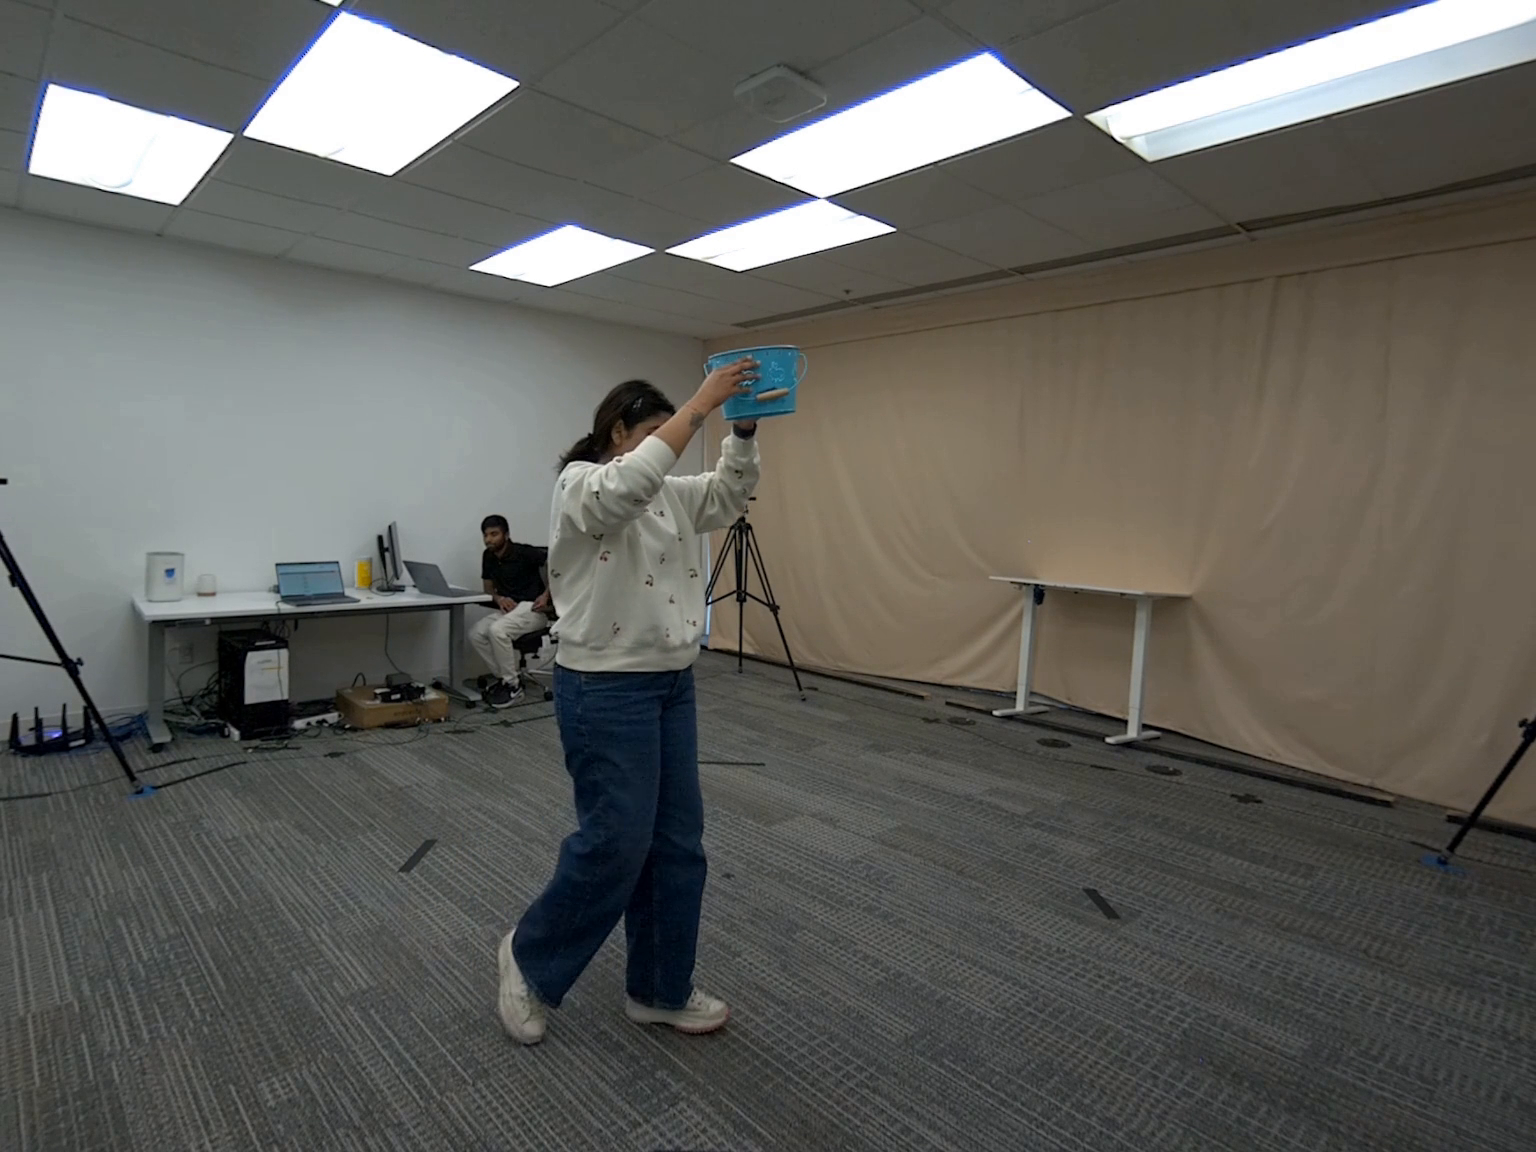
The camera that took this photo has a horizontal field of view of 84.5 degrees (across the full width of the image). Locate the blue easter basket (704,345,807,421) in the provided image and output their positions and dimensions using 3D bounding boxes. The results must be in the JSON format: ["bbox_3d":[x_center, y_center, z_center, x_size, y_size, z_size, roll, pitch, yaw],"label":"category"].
[{"bbox_3d":[-0.039,-0.473,2.061,0.243,0.155,0.244,-6,4,-1],"label":"blue easter basket"}]
